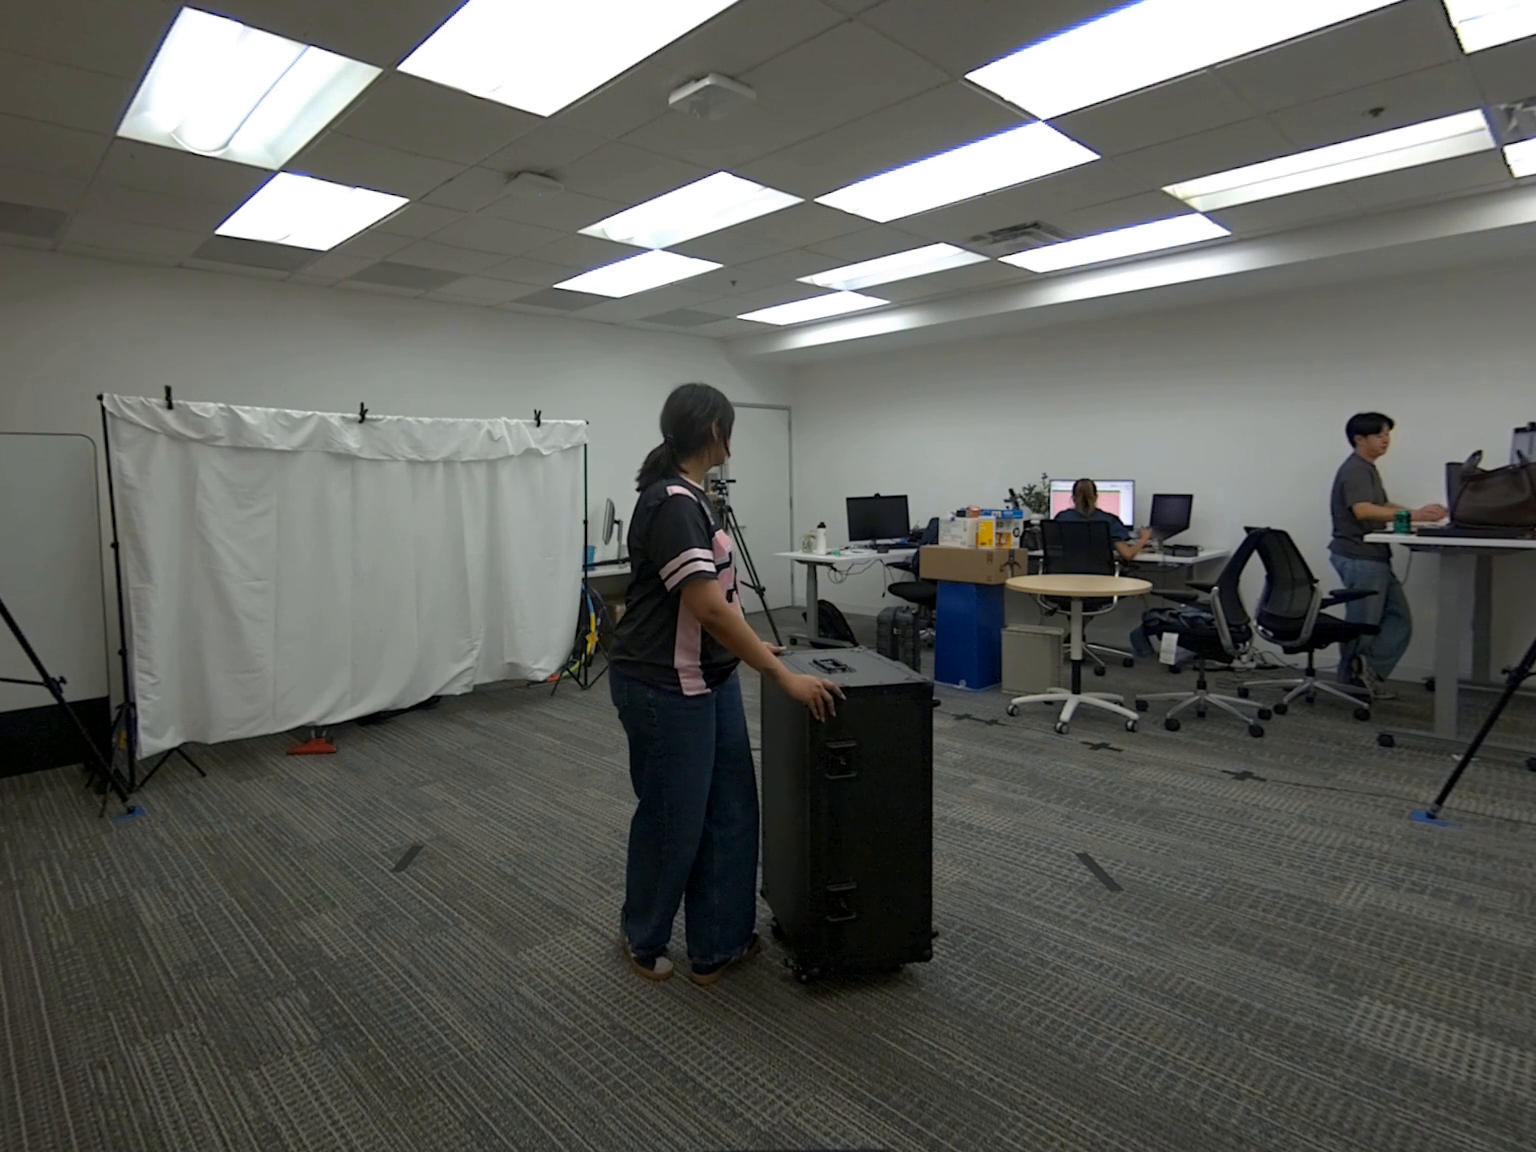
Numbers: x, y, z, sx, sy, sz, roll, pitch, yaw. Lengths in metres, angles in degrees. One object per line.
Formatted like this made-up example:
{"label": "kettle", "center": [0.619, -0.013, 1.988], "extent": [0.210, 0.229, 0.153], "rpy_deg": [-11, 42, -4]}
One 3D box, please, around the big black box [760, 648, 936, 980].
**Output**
{"label": "big black box", "center": [0.216, 0.685, 2.520], "extent": [0.380, 0.865, 0.533], "rpy_deg": [-2, 4, -16]}
